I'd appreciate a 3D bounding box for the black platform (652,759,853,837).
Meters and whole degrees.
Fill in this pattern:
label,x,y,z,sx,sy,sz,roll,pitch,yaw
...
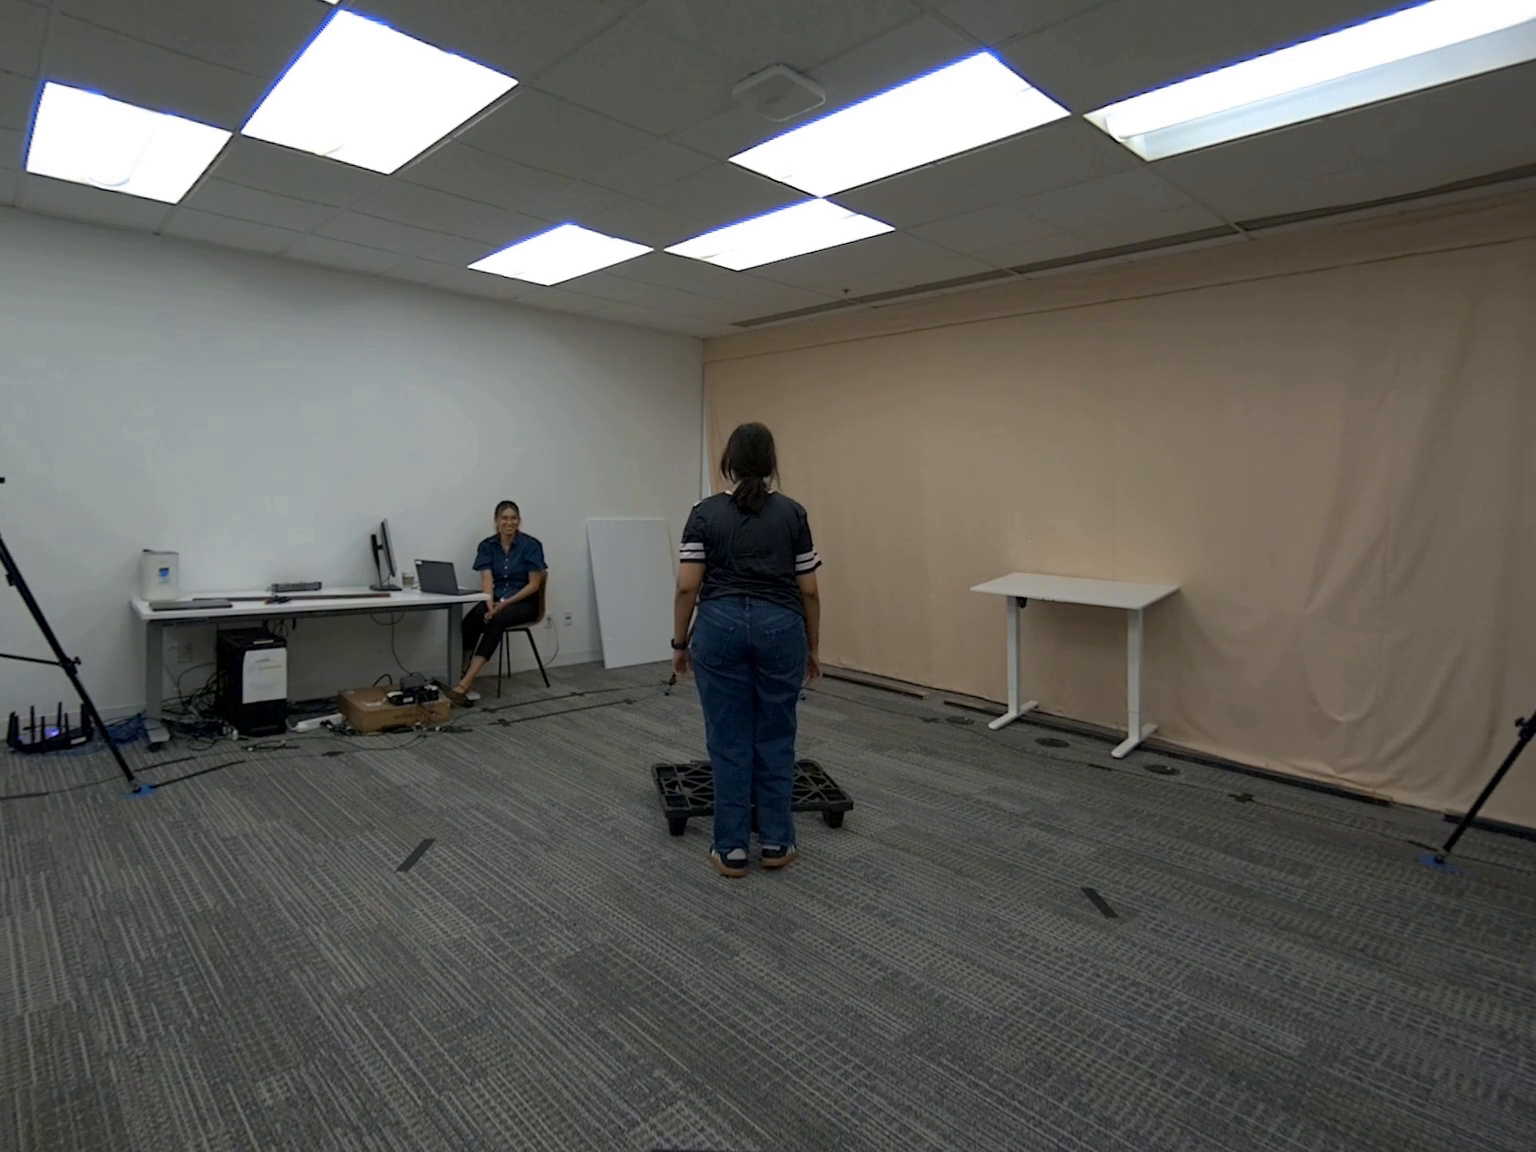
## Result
label,x,y,z,sx,sy,sz,roll,pitch,yaw
black platform,-0.106,0.983,3.751,0.798,0.143,0.612,1,4,-12
